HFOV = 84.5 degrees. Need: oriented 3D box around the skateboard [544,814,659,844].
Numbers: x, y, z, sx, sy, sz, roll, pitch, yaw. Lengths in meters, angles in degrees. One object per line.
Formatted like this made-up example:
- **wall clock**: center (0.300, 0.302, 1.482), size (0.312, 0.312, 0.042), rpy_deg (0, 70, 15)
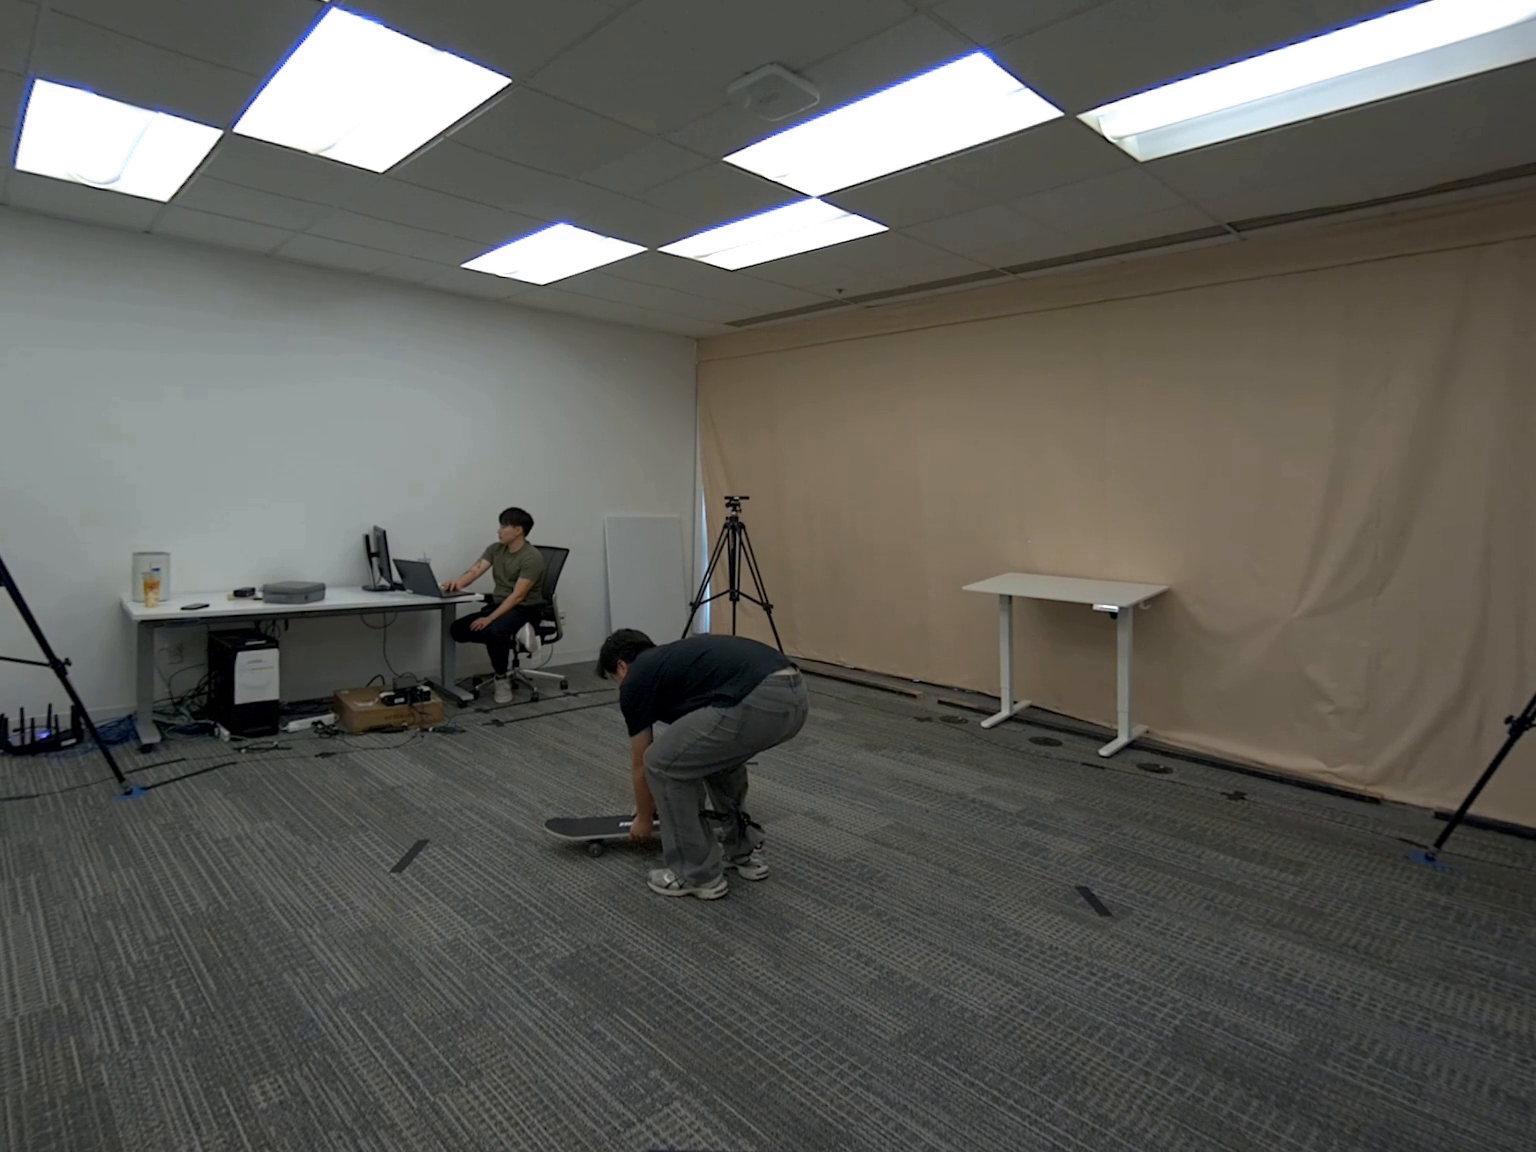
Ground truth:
- **skateboard**: center (-0.491, 1.006, 3.348), size (0.778, 0.110, 0.196), rpy_deg (1, 4, -12)
